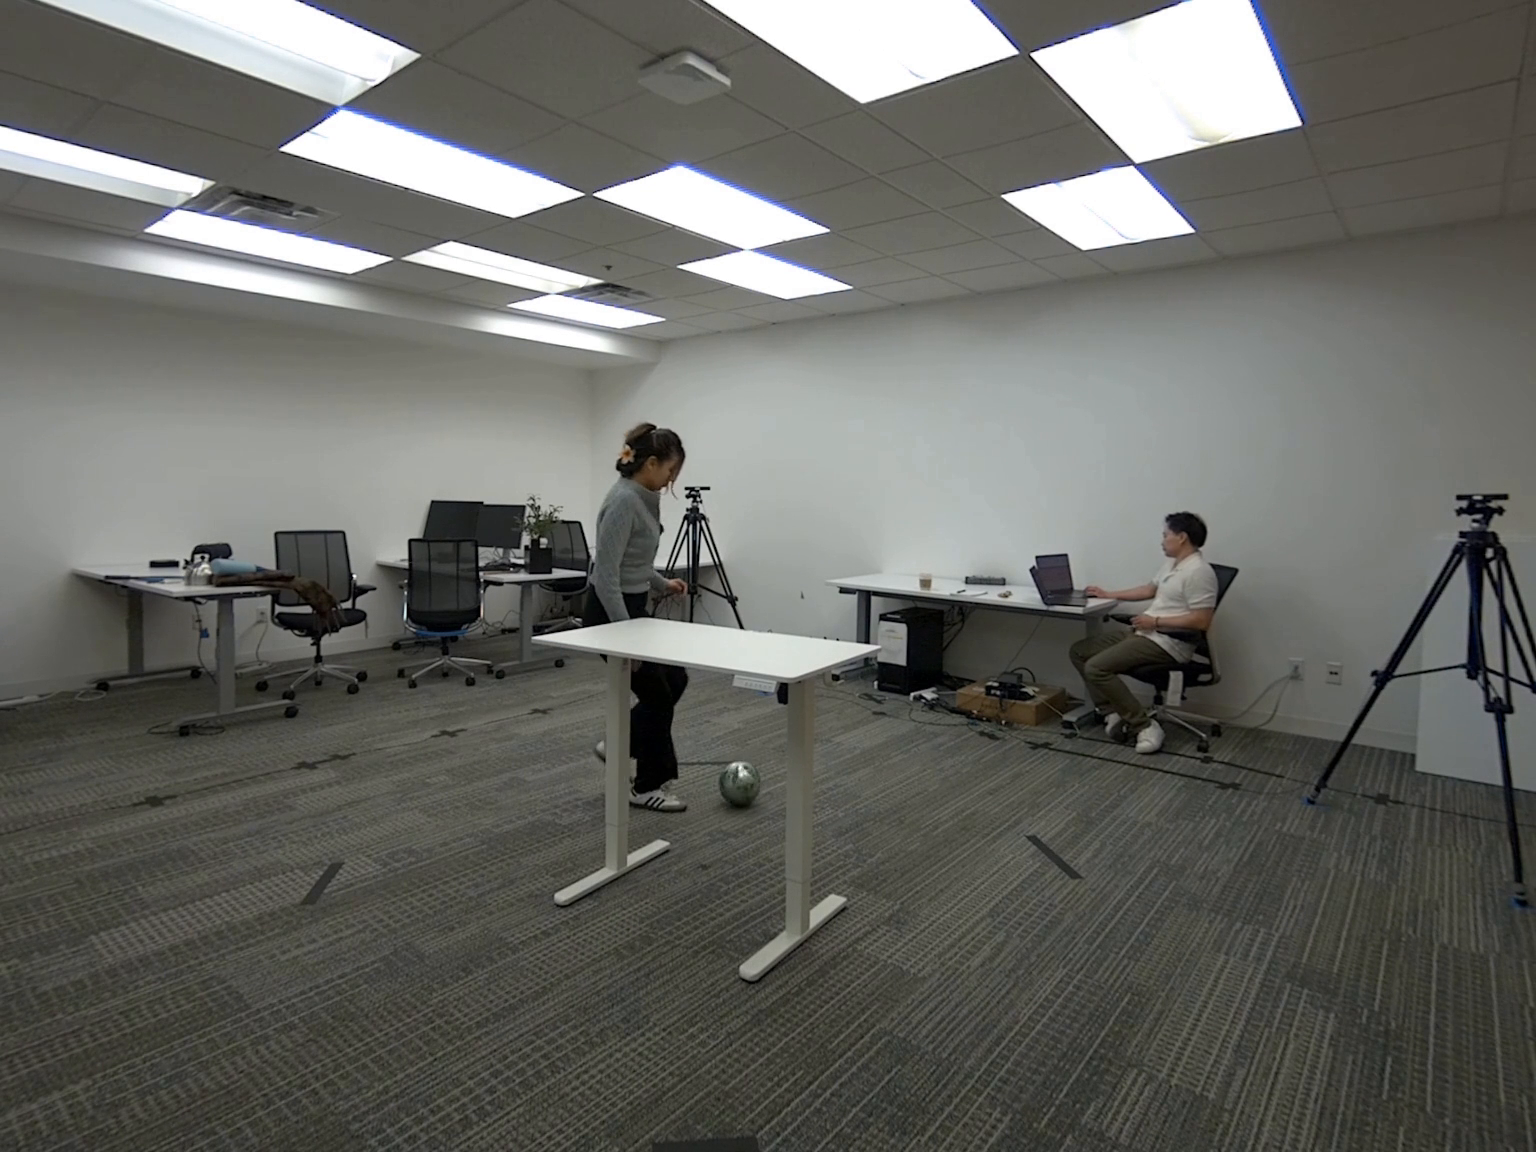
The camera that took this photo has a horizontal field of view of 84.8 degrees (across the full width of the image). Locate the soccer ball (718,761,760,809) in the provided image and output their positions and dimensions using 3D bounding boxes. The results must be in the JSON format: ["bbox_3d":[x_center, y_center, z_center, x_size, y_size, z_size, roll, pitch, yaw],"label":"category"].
[{"bbox_3d":[-0.131,0.913,3.728,0.187,0.187,0.188,0,4,-2],"label":"soccer ball"}]
